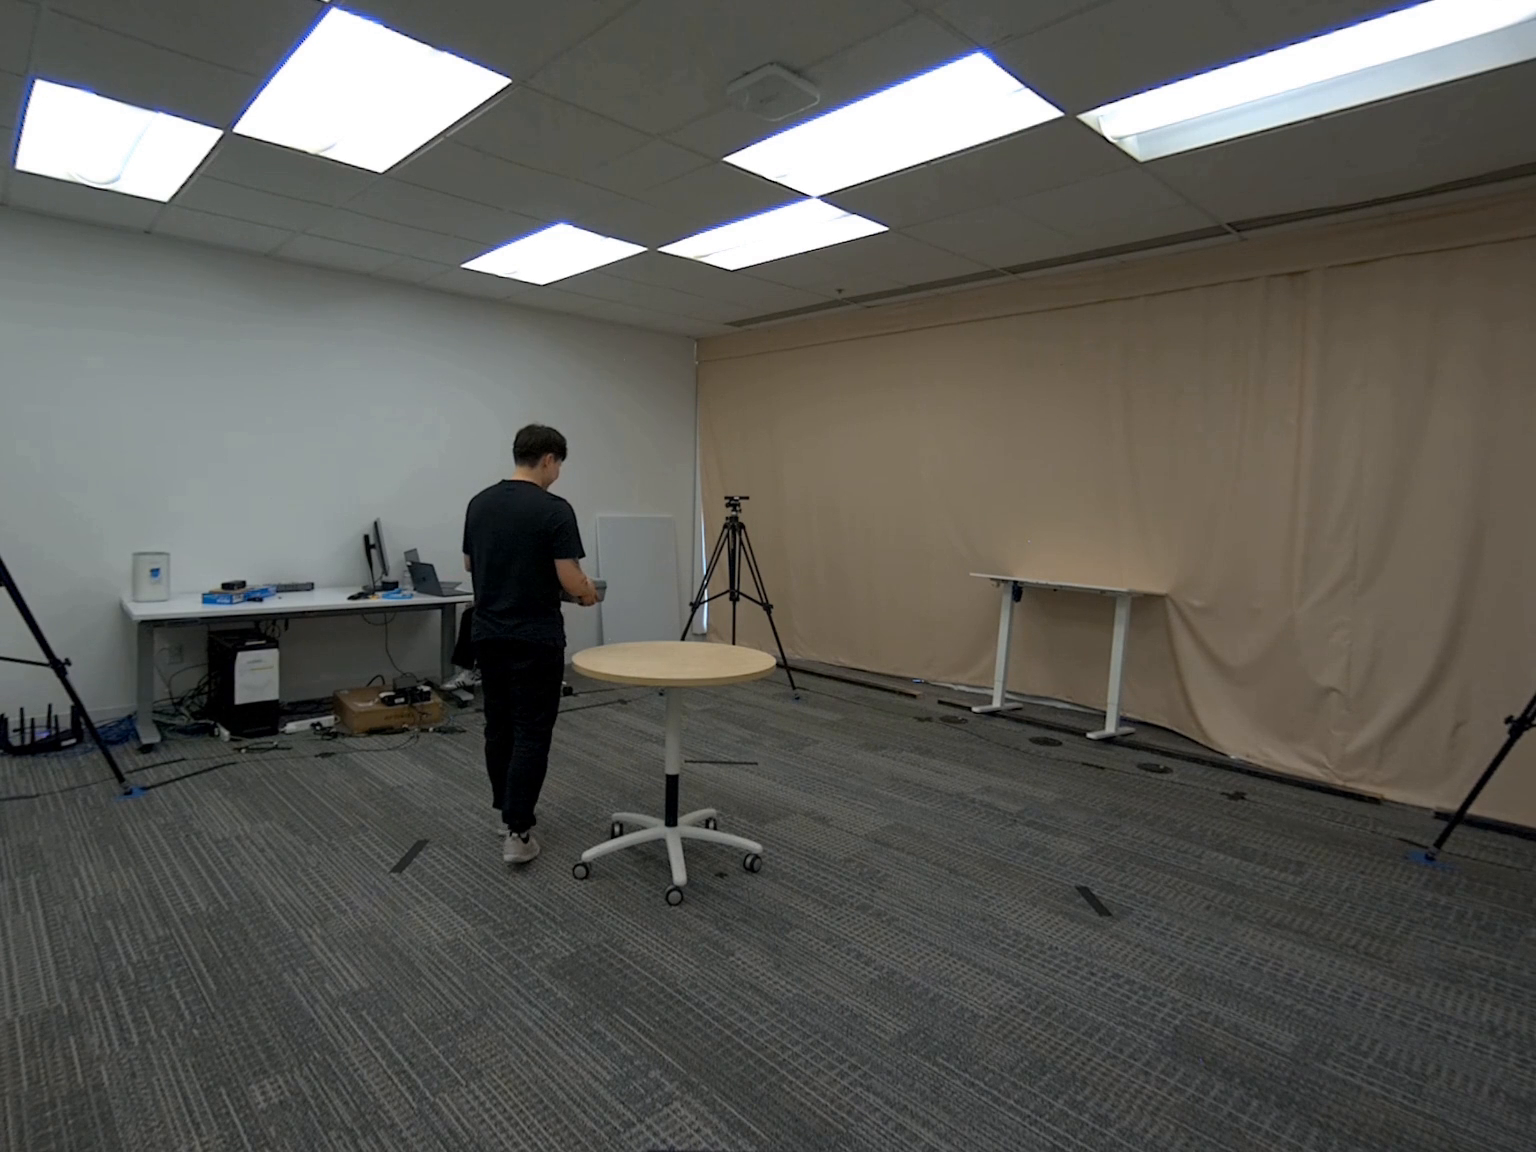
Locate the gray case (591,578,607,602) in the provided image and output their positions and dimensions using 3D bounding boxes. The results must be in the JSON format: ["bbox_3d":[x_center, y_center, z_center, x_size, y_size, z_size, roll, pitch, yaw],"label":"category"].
[{"bbox_3d":[-0.892,0.053,3.646,0.262,0.104,0.256,7,4,23],"label":"gray case"}]
